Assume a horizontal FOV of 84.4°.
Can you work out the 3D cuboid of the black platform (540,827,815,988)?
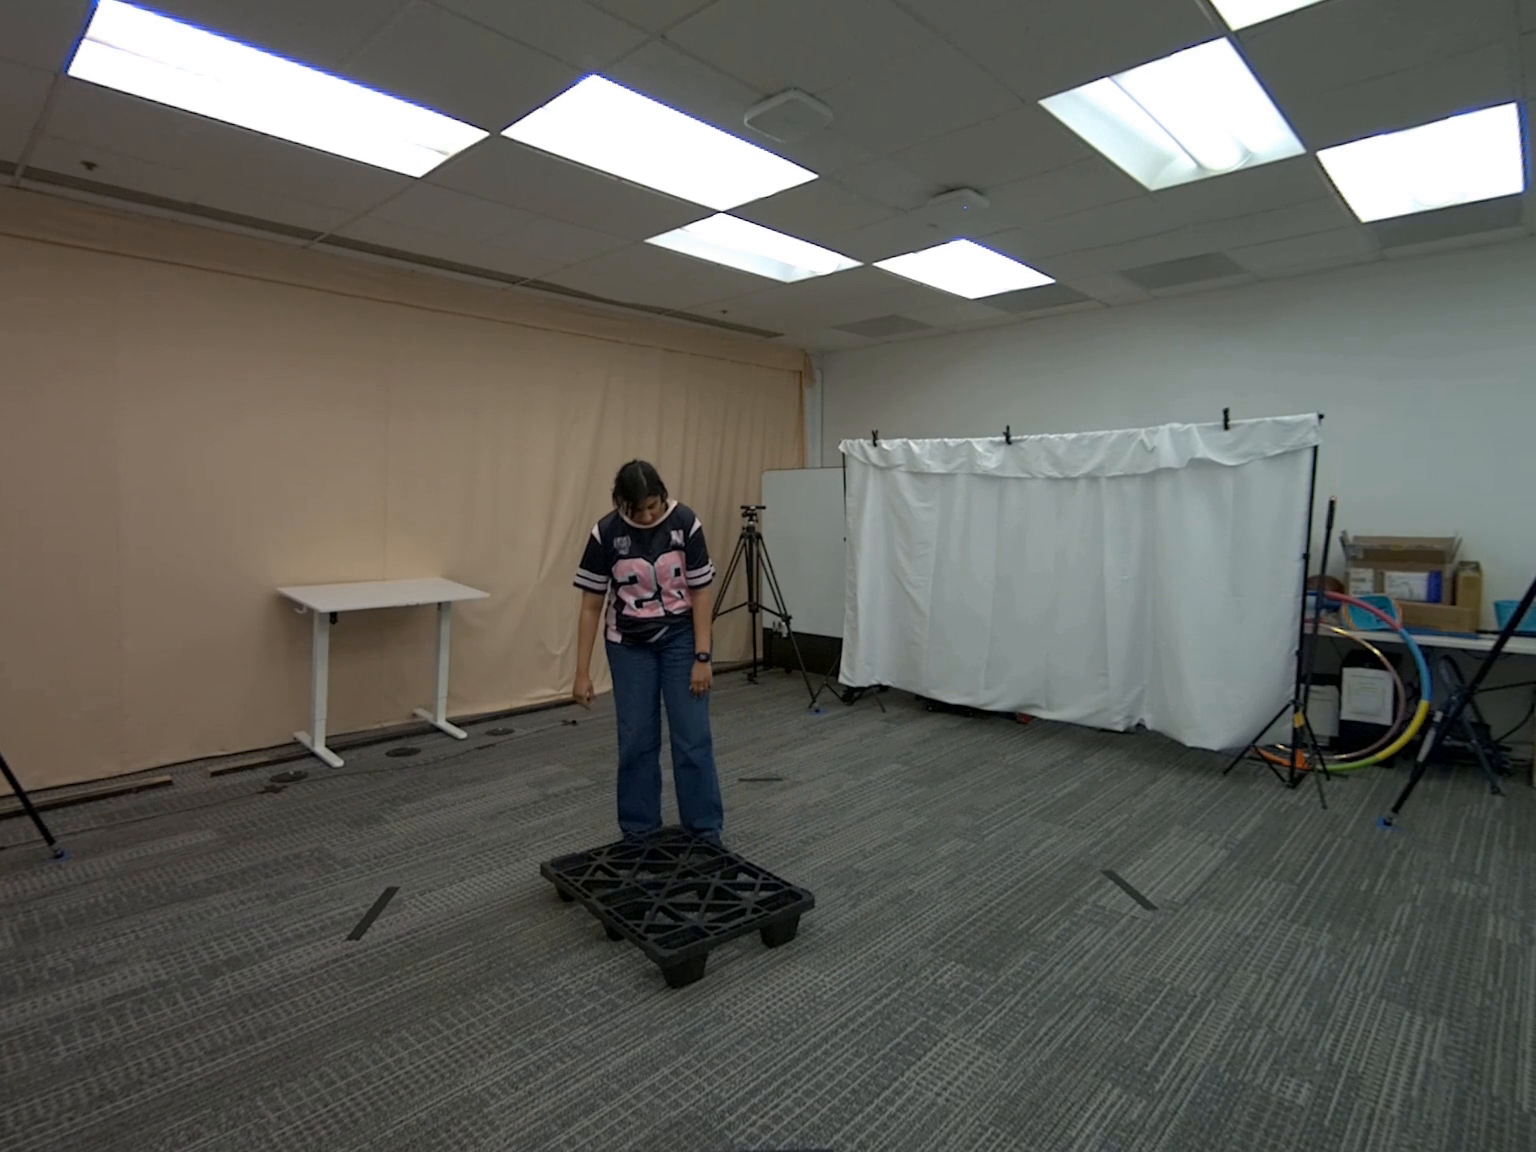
[{"bbox_3d":[-0.325,1.093,2.843,0.587,0.143,0.832,-5,6,-39],"label":"black platform"}]
